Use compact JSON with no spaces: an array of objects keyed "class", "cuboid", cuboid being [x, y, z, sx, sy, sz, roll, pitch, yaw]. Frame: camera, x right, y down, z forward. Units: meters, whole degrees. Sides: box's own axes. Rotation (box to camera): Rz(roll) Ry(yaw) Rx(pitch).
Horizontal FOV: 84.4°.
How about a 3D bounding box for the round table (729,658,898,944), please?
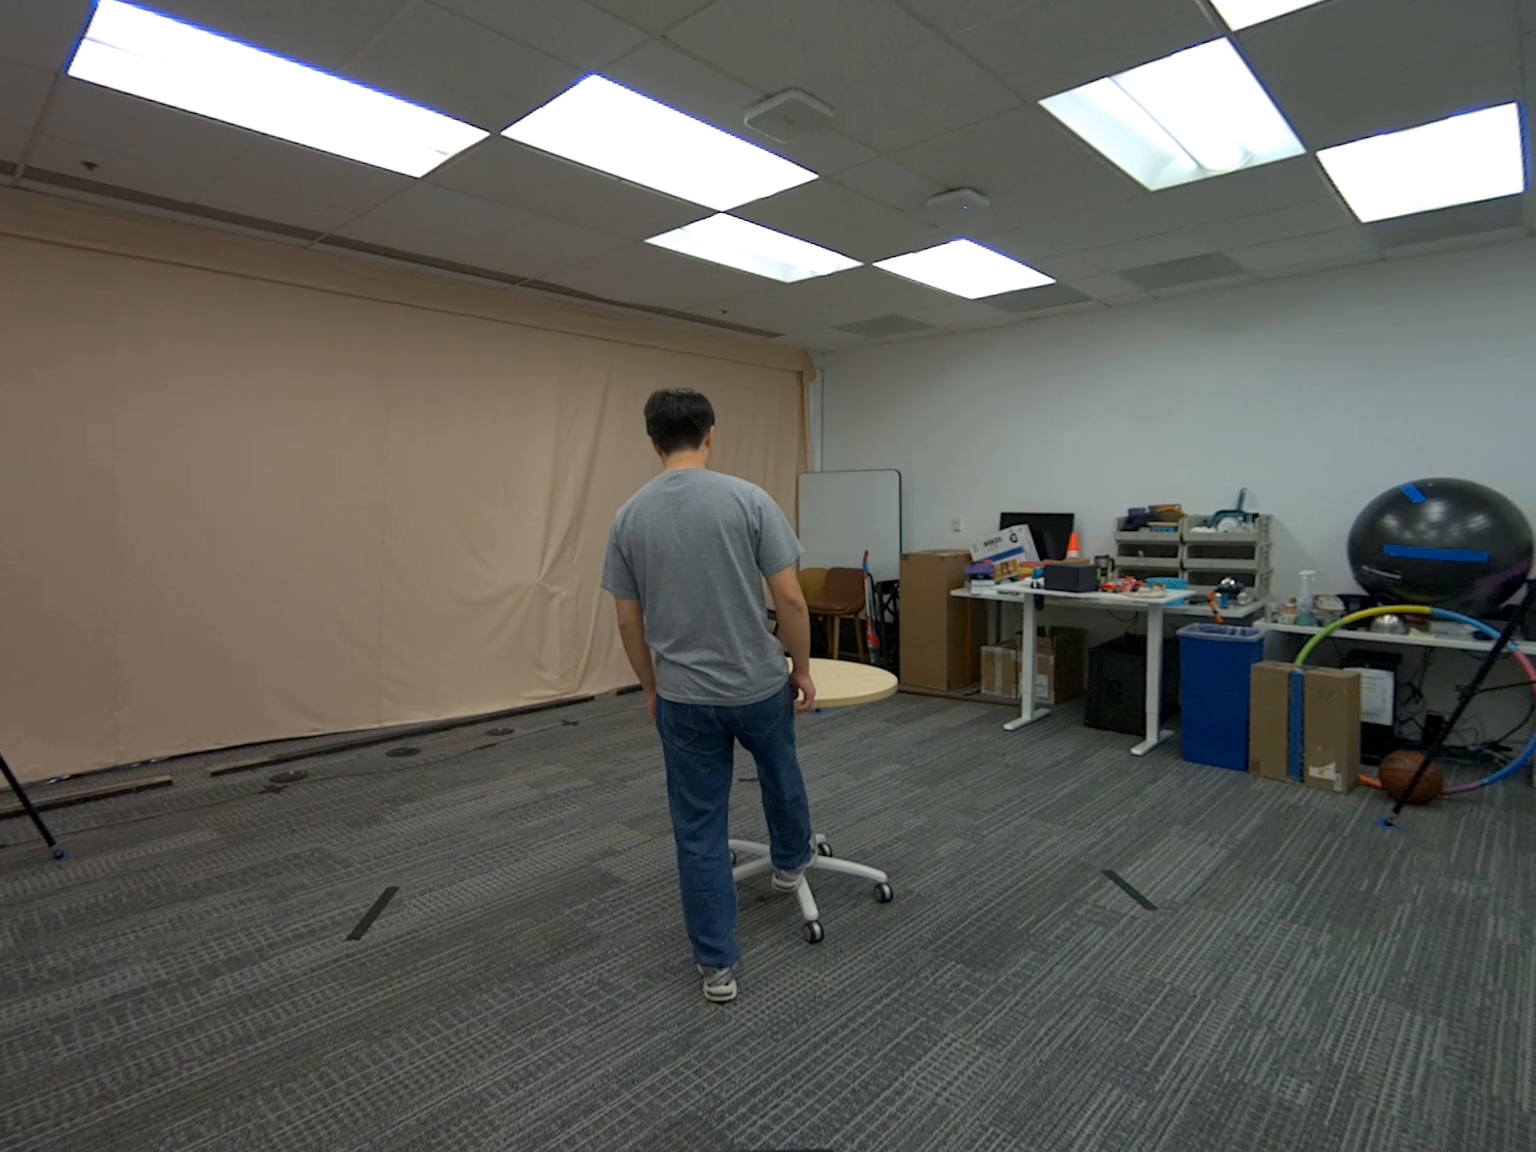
[{"class":"round table","cuboid":[0.082,0.752,3.020,0.763,0.792,0.766,0,3,-2]}]
